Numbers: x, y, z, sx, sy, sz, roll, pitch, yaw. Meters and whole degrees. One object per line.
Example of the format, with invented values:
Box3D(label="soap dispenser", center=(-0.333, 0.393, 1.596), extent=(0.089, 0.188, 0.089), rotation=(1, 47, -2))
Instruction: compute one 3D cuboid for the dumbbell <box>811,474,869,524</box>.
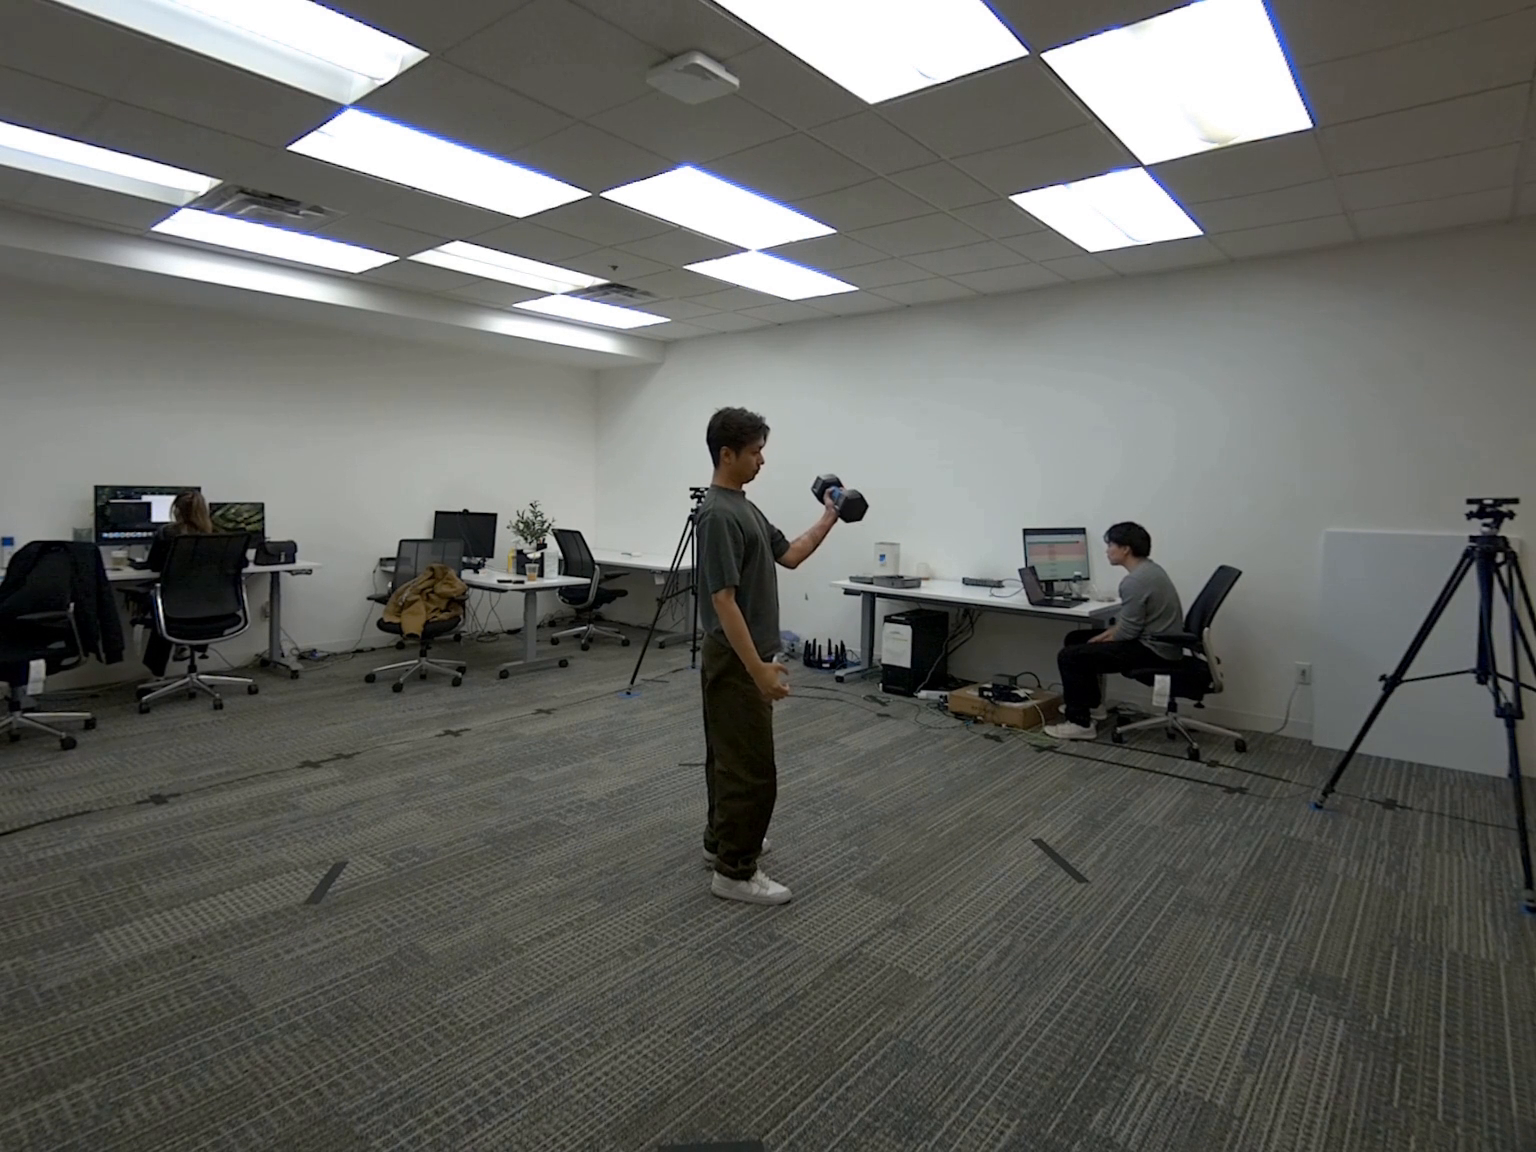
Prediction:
Box3D(label="dumbbell", center=(0.258, -0.299, 3.239), extent=(0.108, 0.119, 0.304), rotation=(-34, 29, -2))
